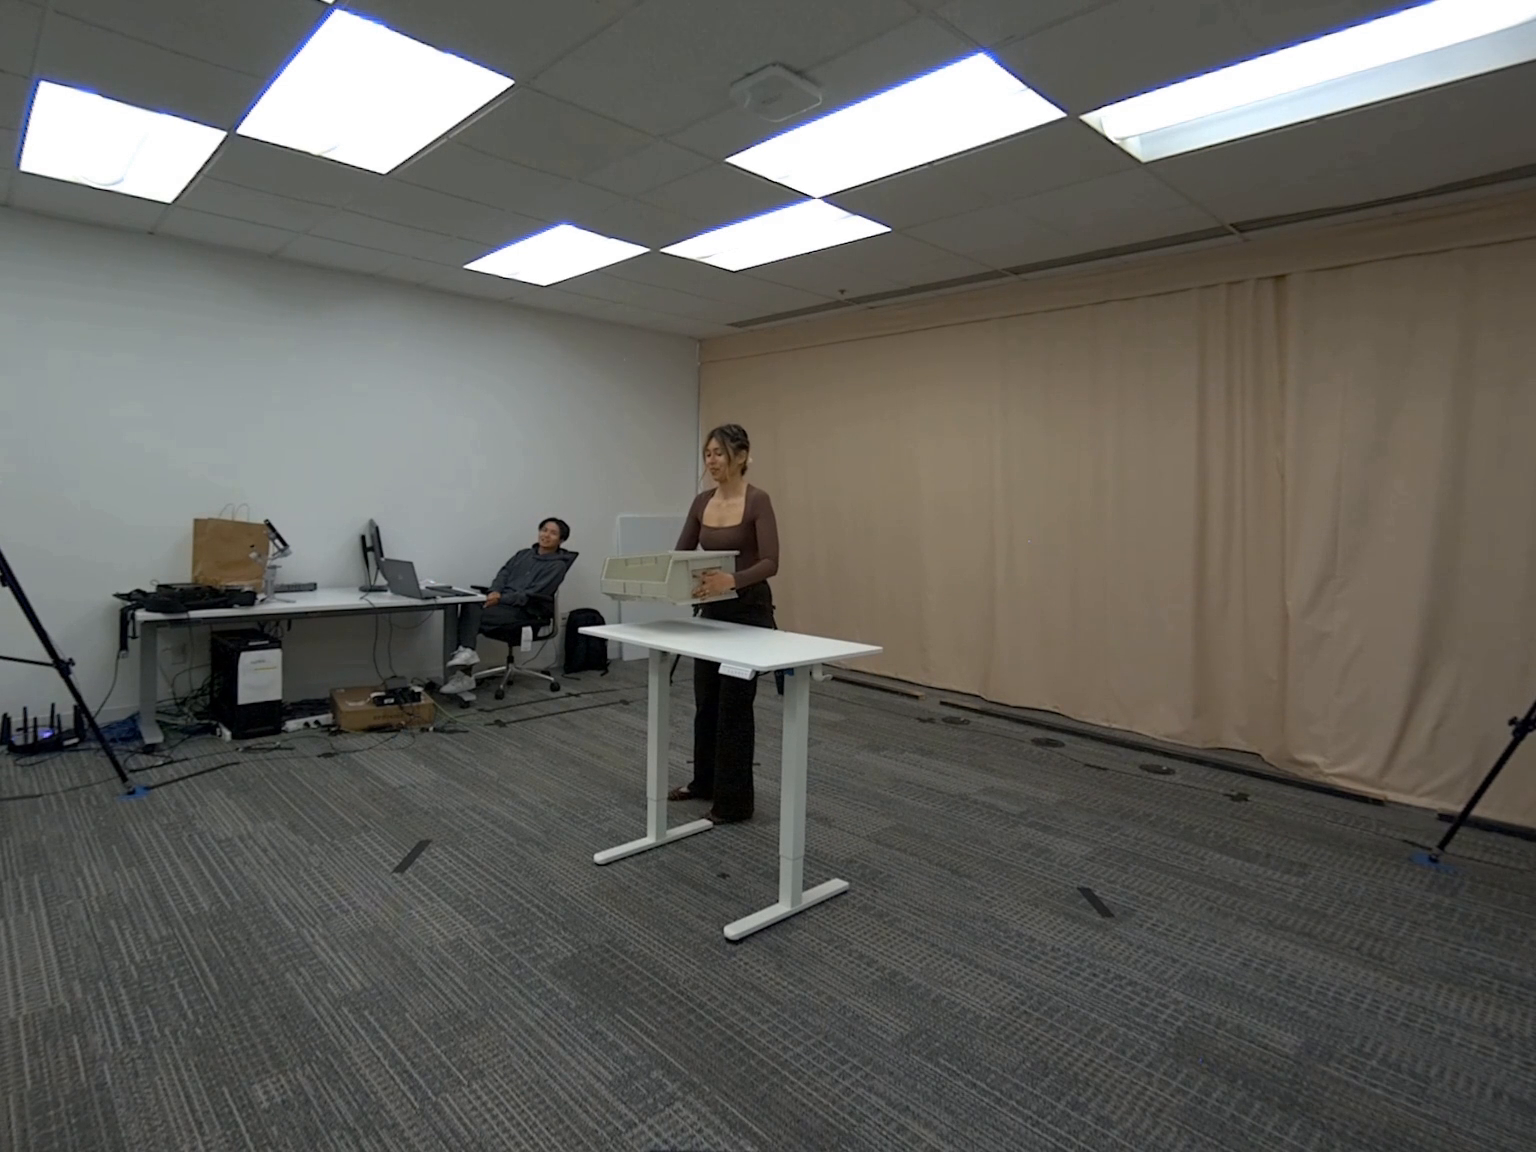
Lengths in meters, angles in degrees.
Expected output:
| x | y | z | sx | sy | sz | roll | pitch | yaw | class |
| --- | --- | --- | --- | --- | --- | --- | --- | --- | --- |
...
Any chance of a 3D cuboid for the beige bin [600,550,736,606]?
| x | y | z | sx | sy | sz | roll | pitch | yaw | class |
| --- | --- | --- | --- | --- | --- | --- | --- | --- | --- |
| -0.396 | 0.007 | 3.307 | 0.432 | 0.188 | 0.369 | 2 | 5 | 44 | beige bin |
